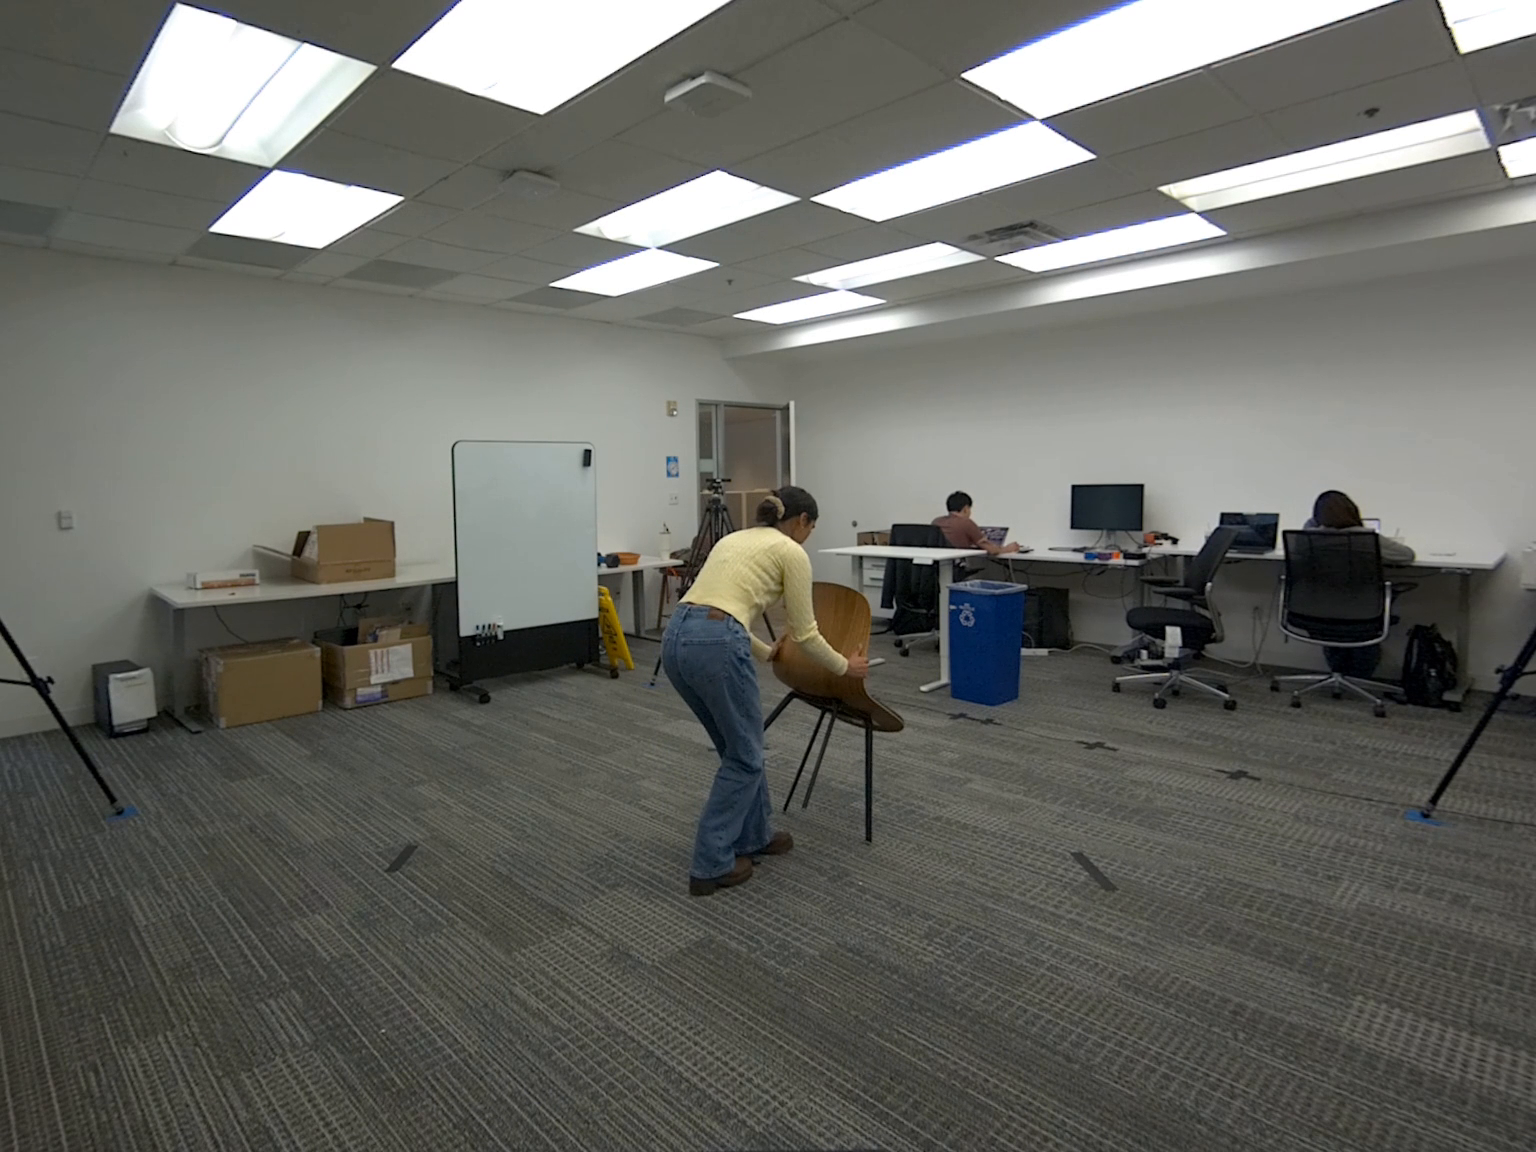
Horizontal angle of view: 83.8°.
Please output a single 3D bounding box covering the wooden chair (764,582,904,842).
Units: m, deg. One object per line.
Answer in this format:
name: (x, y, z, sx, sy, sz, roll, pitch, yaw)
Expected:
wooden chair: (0.249, 0.526, 3.414, 0.493, 0.885, 0.503, 3, -22, 45)
